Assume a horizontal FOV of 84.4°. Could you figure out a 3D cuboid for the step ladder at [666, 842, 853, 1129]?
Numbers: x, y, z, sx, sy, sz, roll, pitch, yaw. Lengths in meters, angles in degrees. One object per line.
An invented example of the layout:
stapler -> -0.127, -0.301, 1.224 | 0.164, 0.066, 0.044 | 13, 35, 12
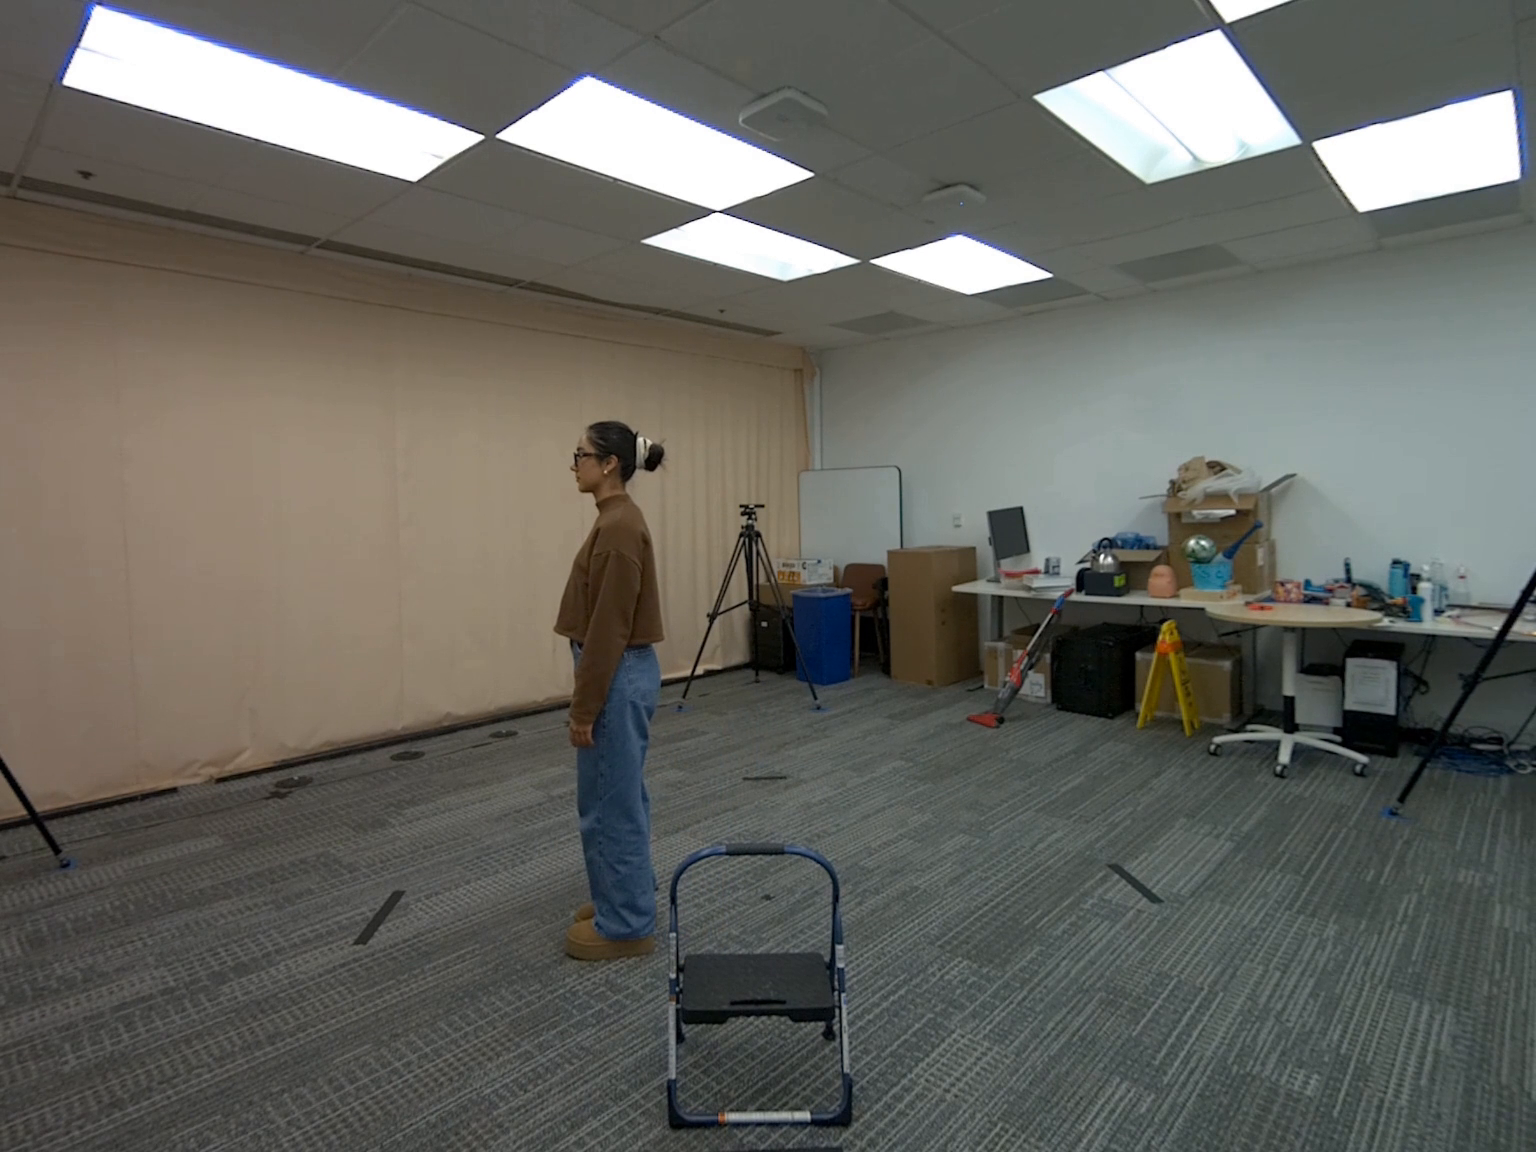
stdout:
step ladder -> -0.029, 0.922, 2.027 | 0.430, 0.605, 0.350 | -1, 3, -2
